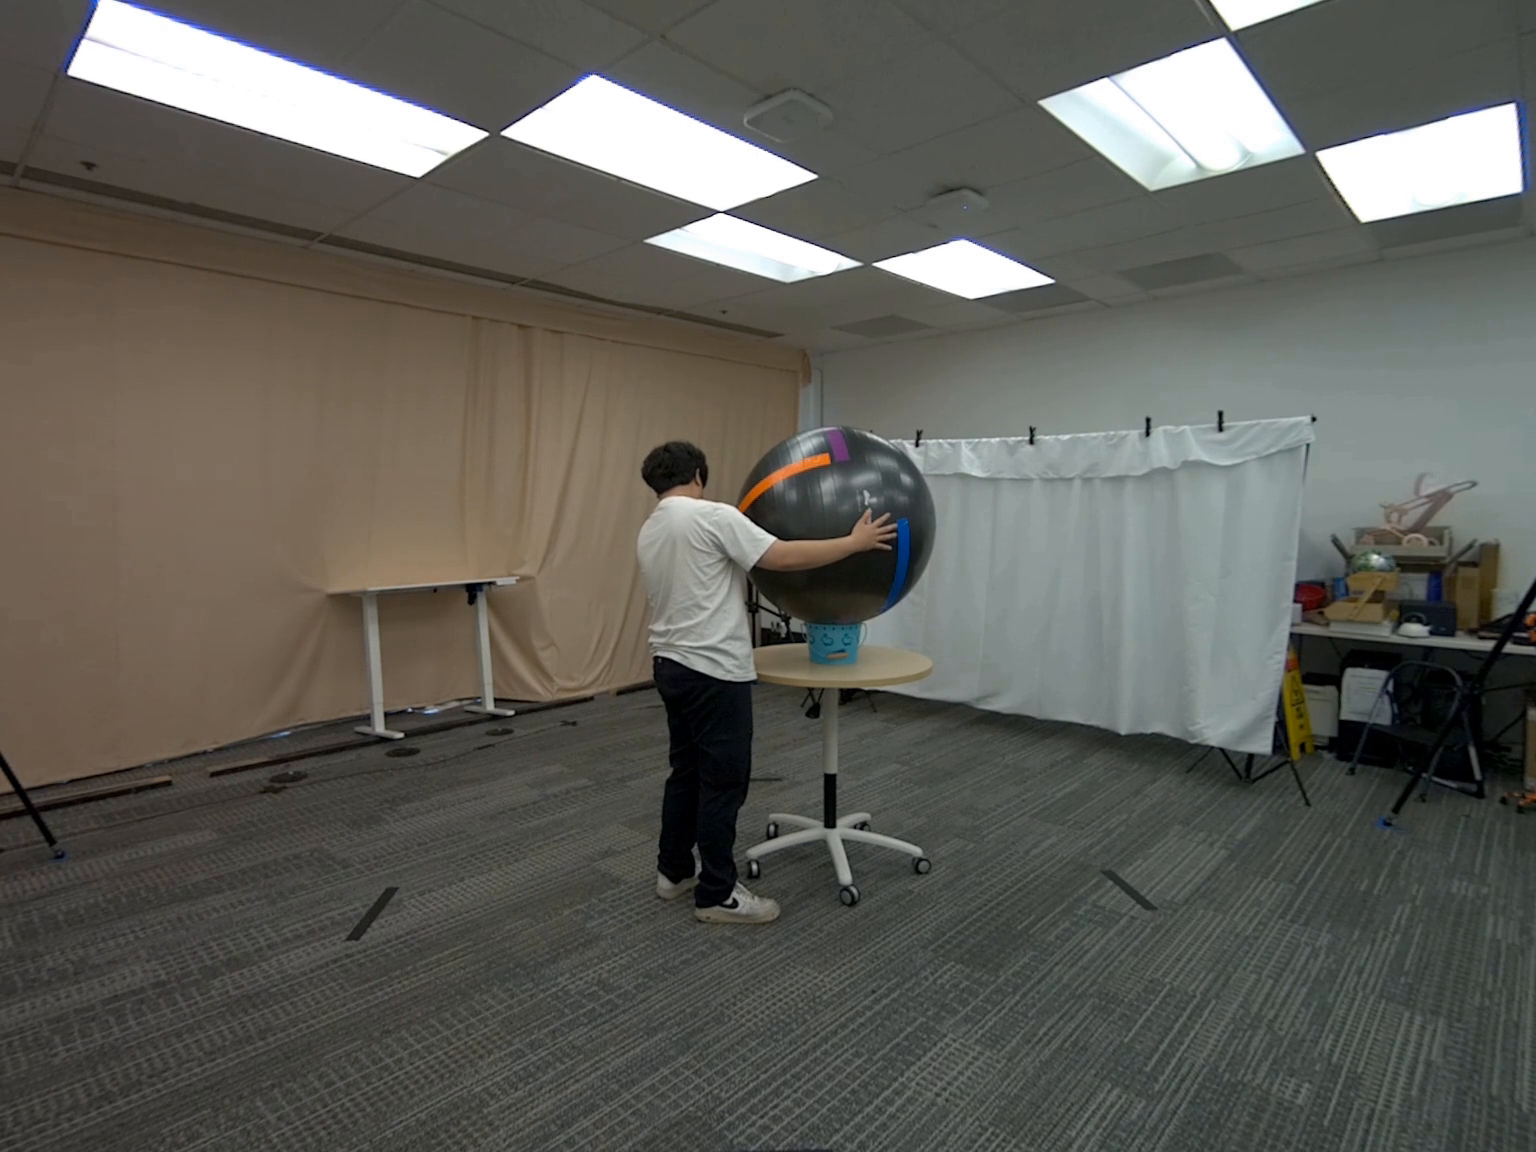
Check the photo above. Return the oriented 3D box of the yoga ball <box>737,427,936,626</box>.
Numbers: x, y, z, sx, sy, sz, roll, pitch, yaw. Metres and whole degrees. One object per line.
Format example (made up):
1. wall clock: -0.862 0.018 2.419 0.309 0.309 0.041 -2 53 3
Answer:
1. yoga ball: 0.253 -0.187 3.219 0.757 0.756 0.761 0 4 -2
